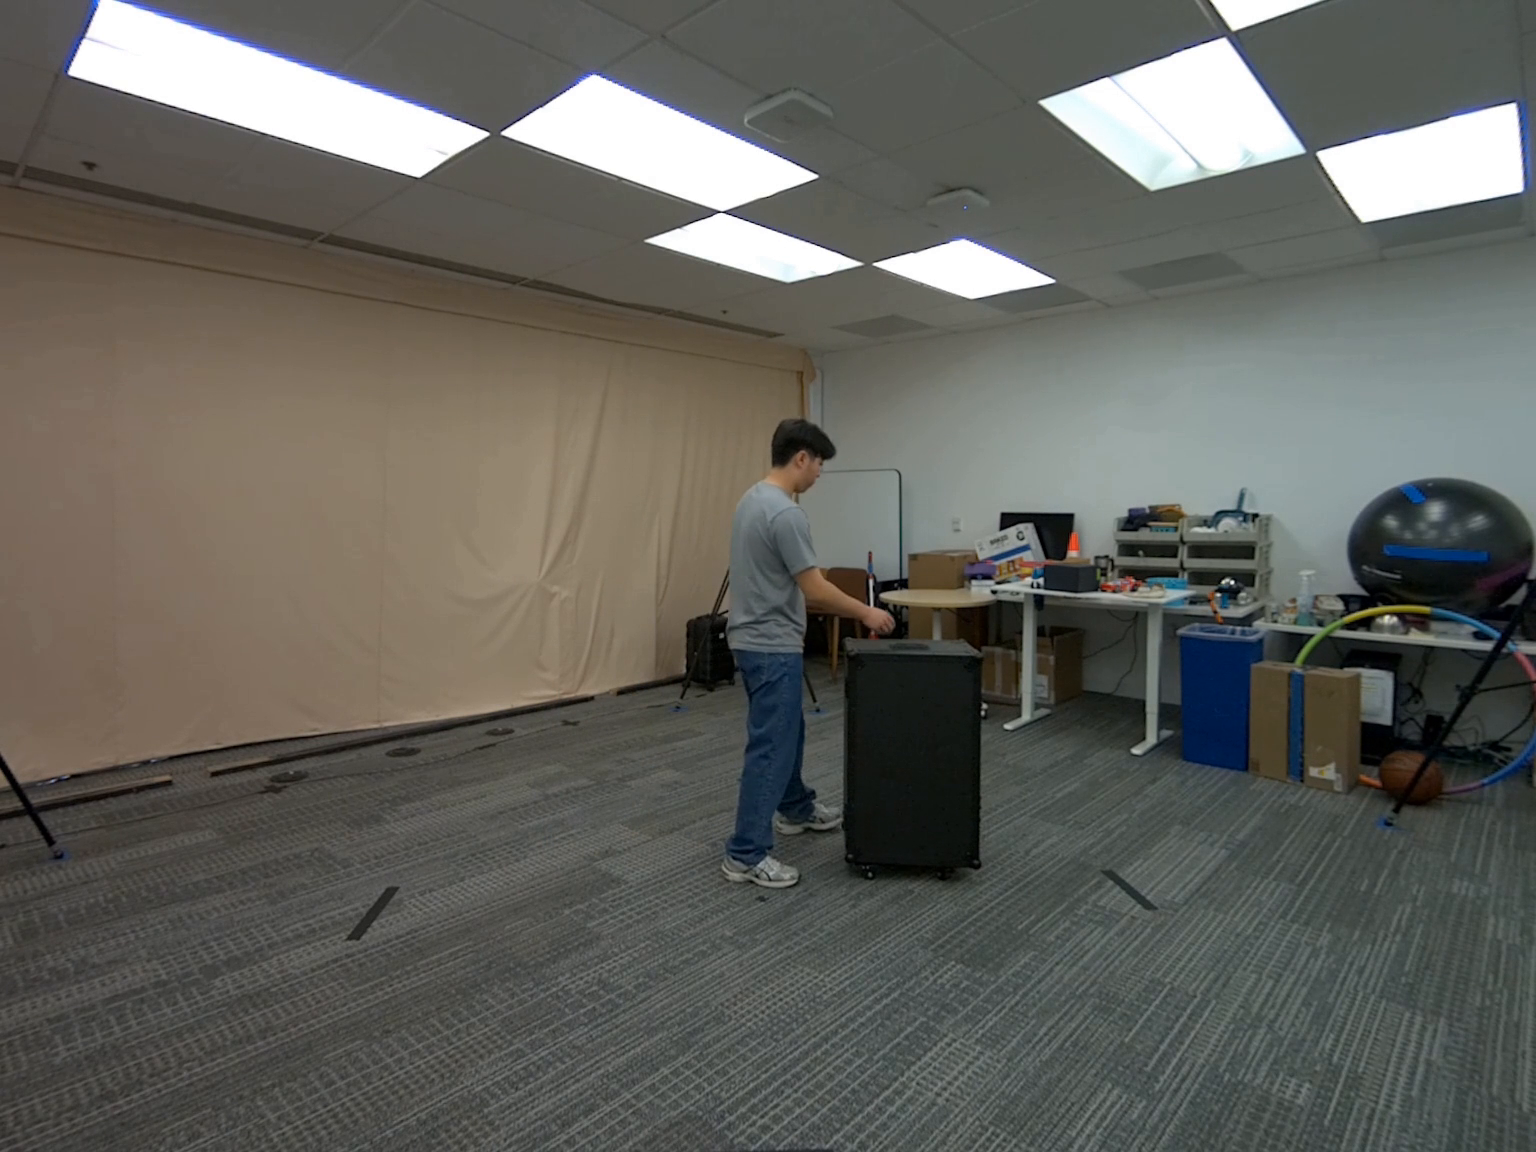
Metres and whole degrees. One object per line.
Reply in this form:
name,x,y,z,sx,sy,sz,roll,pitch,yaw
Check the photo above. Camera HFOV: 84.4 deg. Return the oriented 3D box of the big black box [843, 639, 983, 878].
big black box,0.540,0.696,3.256,0.525,0.860,0.394,-1,2,5
